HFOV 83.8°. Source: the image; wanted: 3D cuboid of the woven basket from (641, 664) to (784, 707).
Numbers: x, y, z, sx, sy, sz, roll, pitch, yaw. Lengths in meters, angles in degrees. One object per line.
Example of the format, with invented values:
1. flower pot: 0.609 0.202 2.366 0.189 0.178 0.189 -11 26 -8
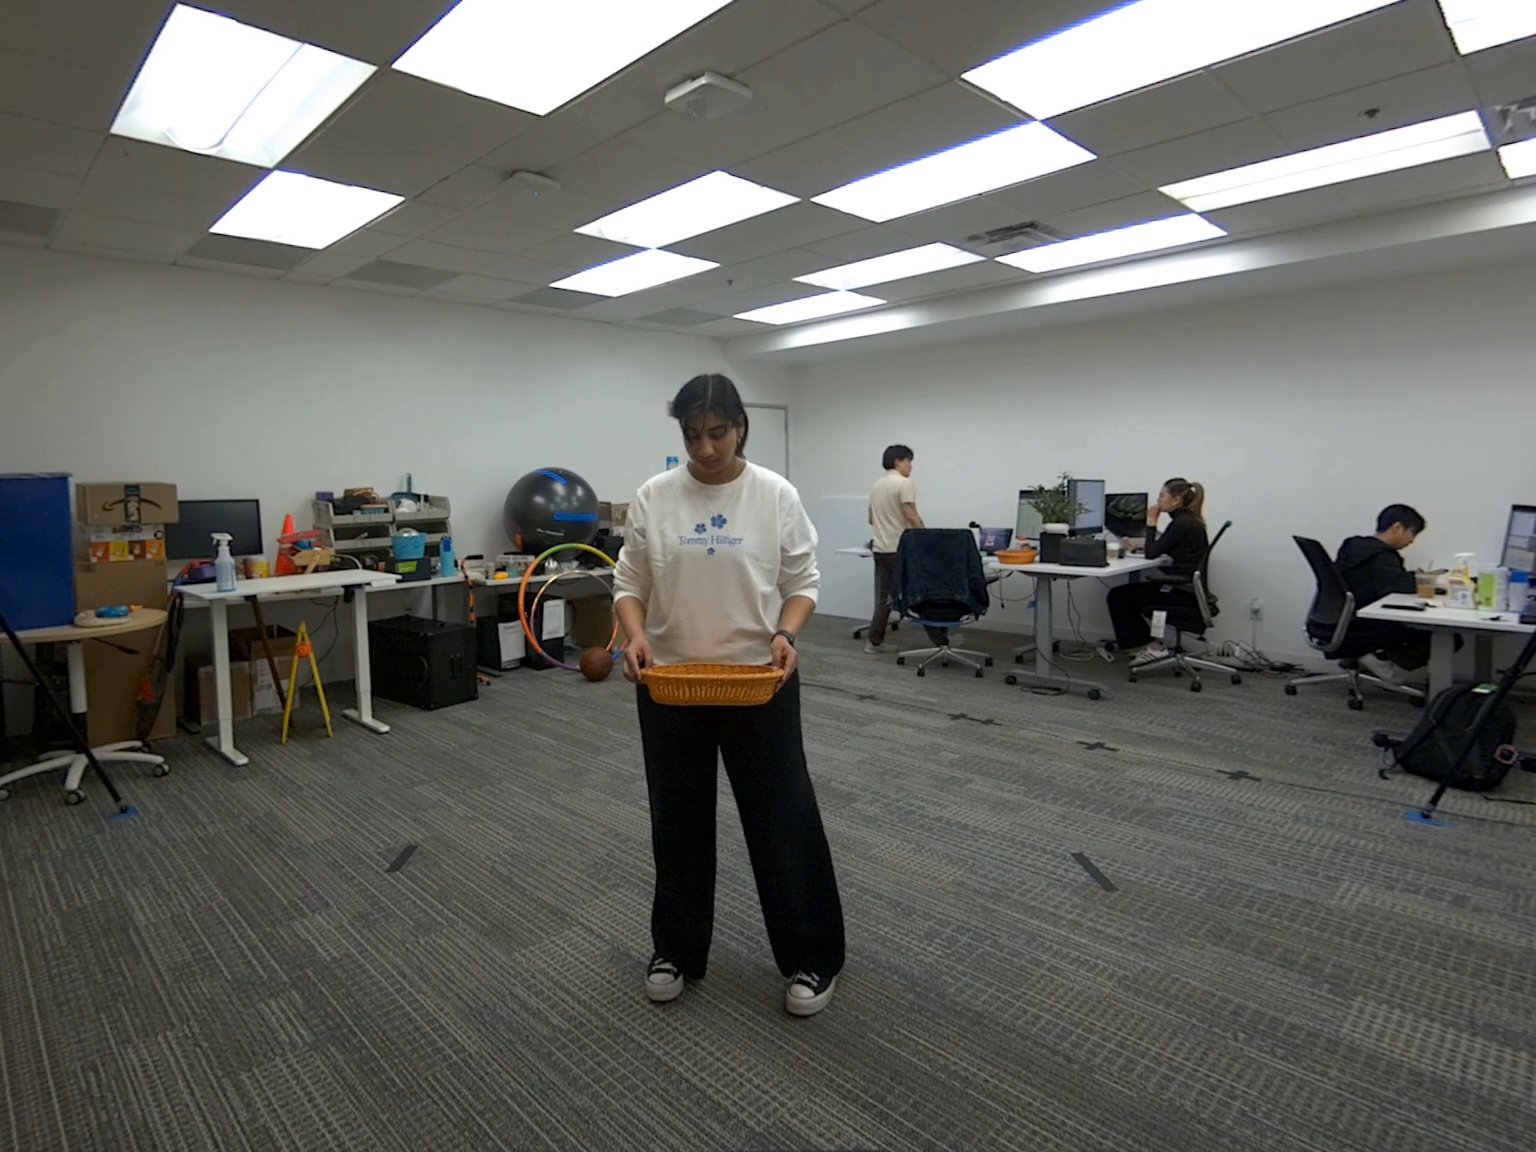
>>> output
1. woven basket: -0.128 0.261 2.038 0.352 0.073 0.251 -1 2 4
